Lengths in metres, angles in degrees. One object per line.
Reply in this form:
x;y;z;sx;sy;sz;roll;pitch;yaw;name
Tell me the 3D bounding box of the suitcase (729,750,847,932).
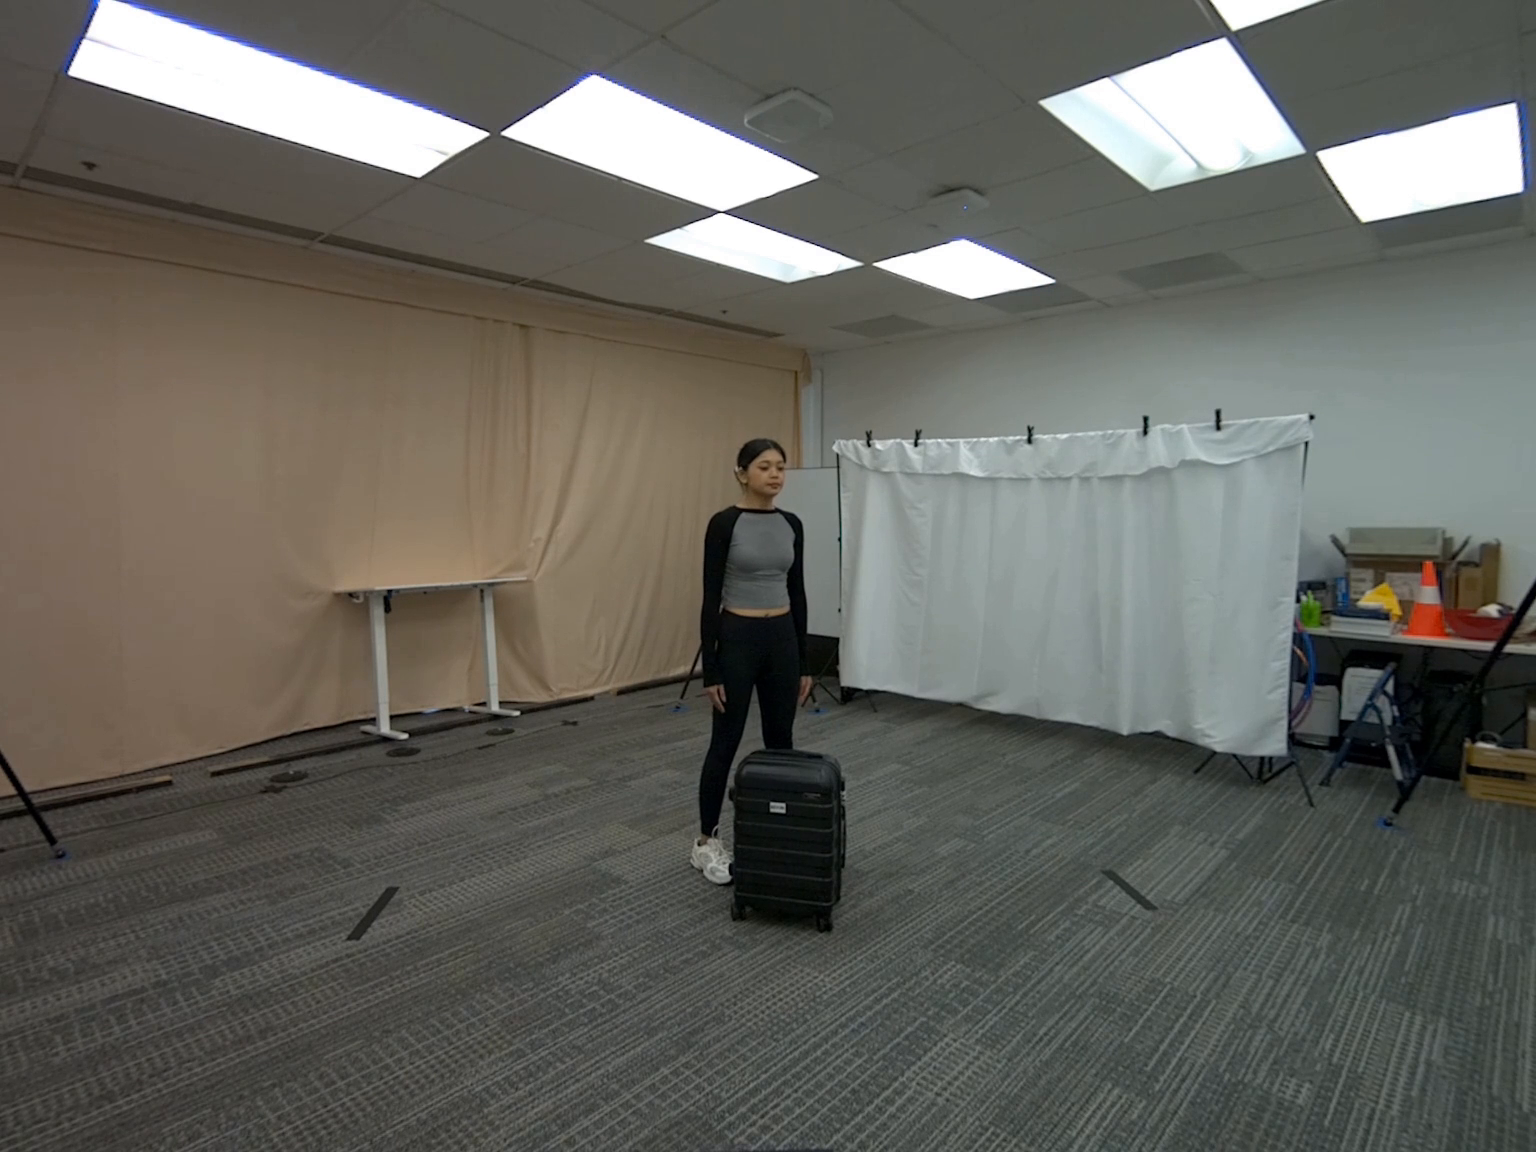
0.076;0.877;2.866;0.382;0.548;0.245;1;5;15;suitcase
